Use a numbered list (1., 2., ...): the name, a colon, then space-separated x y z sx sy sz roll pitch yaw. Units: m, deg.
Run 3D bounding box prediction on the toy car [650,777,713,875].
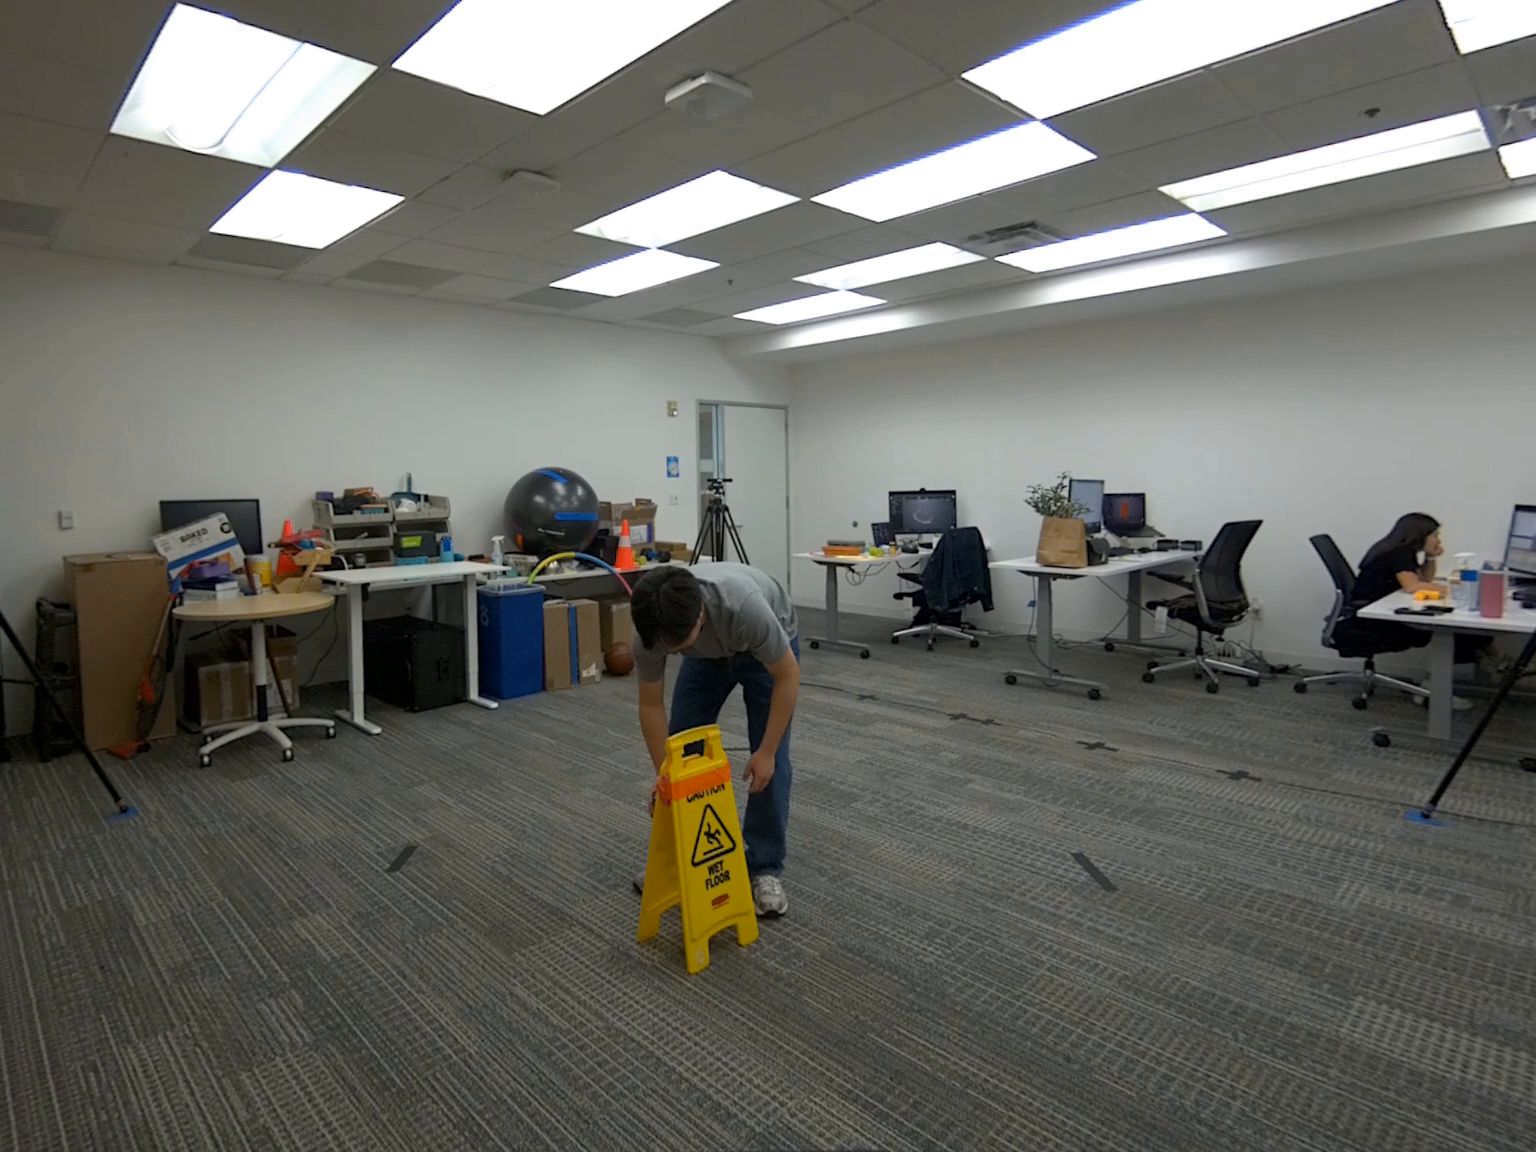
1. toy car: -0.269 0.767 2.633 0.086 0.250 0.128 30 31 29
